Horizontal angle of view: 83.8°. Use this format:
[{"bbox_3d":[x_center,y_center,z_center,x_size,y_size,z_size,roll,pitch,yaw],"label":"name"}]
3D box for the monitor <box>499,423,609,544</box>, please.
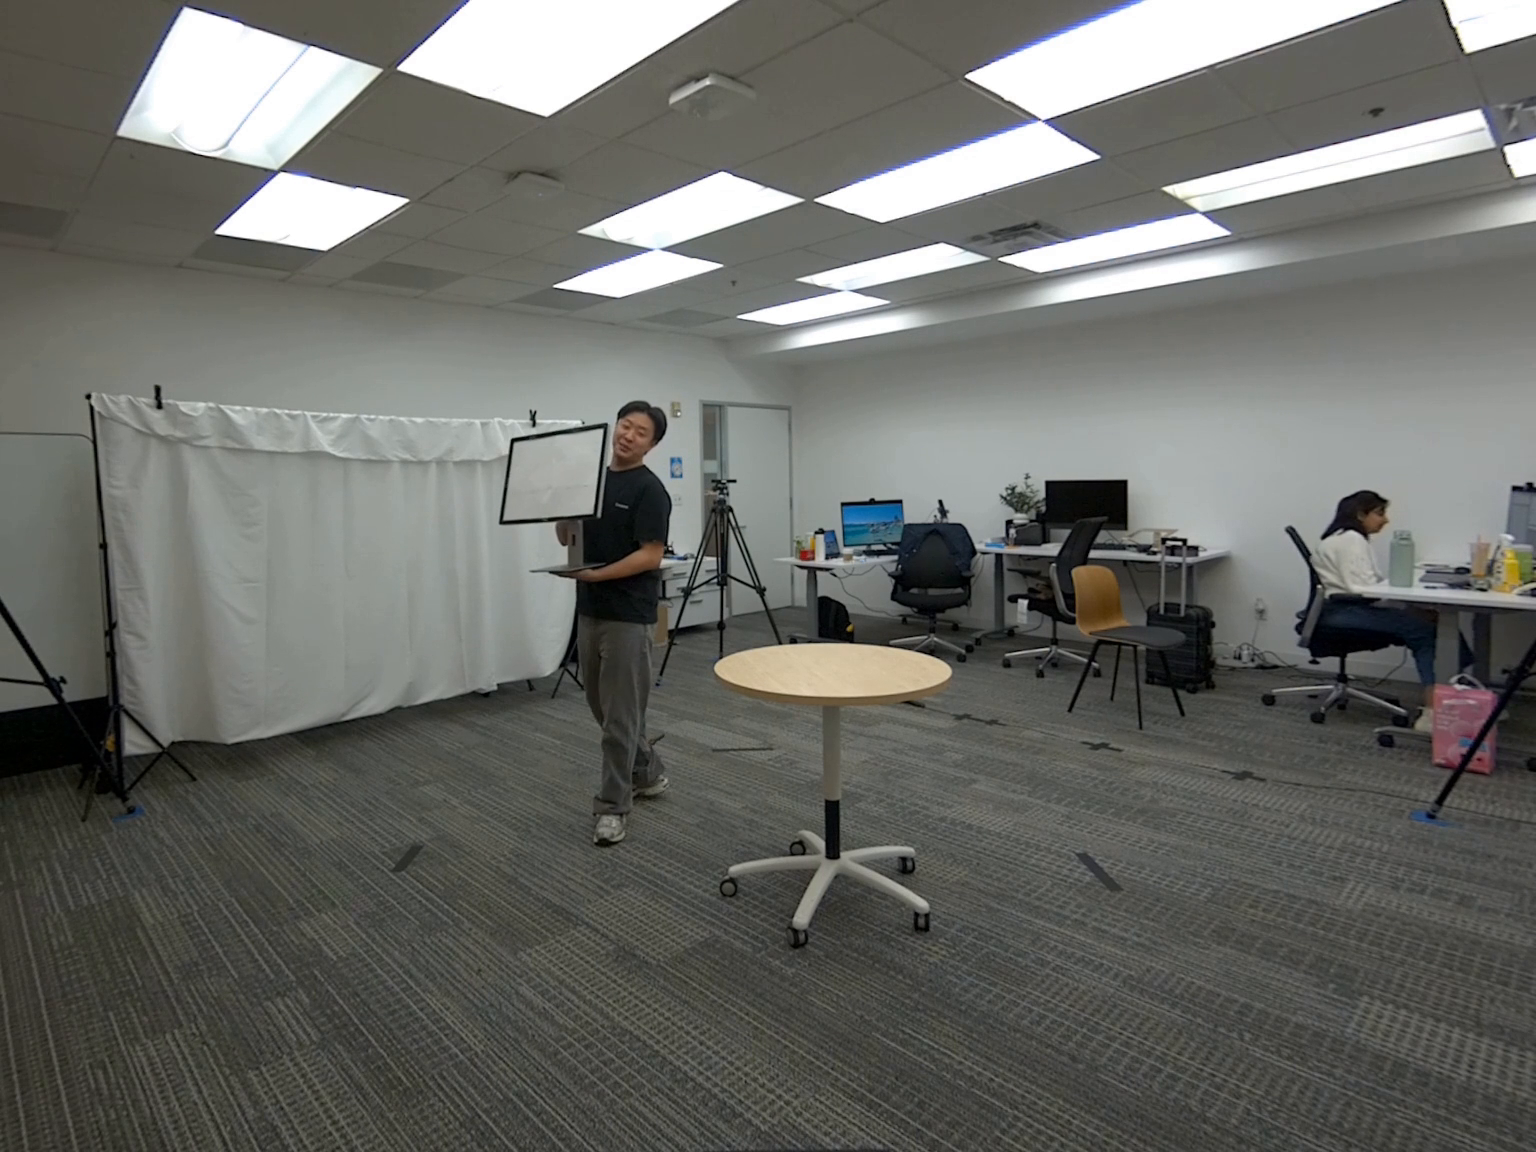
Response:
[{"bbox_3d":[-0.808,-0.284,3.343,0.577,0.564,0.217,-1,4,39],"label":"monitor"}]
